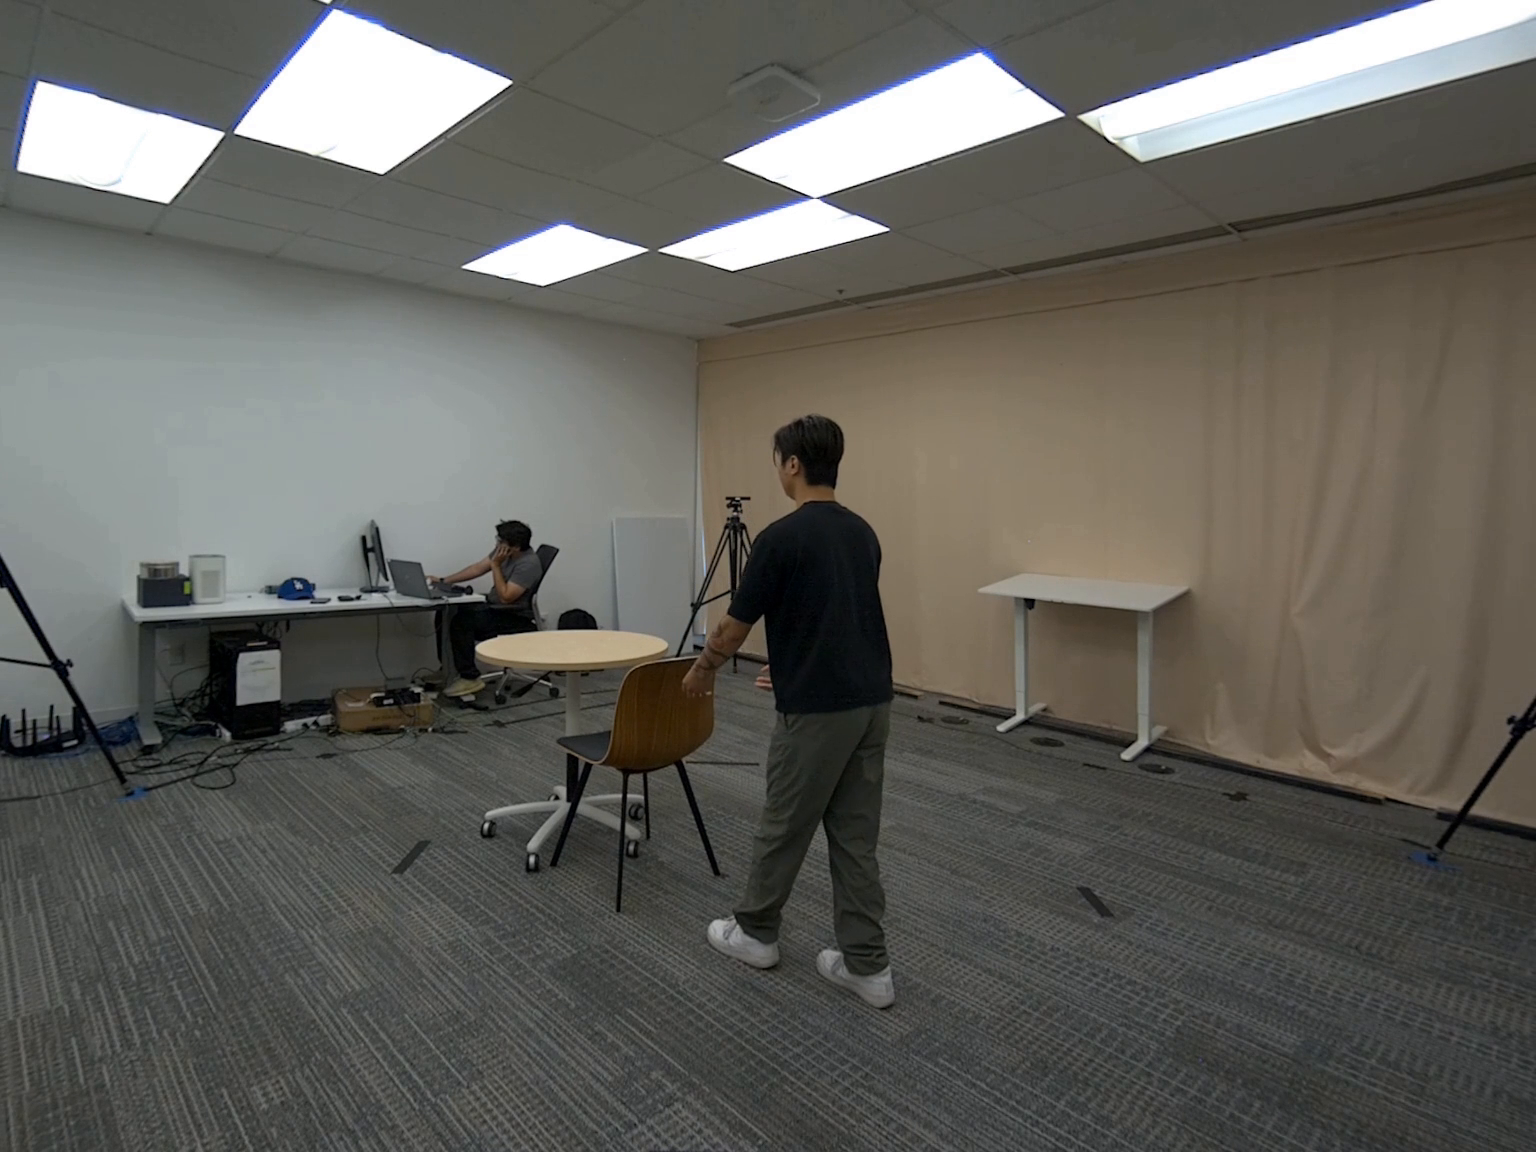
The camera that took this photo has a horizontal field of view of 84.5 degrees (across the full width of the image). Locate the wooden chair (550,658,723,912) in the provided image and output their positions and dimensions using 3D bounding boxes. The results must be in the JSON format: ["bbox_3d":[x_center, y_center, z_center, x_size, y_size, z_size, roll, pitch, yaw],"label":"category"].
[{"bbox_3d":[-0.493,0.675,3.099,0.467,0.873,0.537,-2,9,-42],"label":"wooden chair"}]
